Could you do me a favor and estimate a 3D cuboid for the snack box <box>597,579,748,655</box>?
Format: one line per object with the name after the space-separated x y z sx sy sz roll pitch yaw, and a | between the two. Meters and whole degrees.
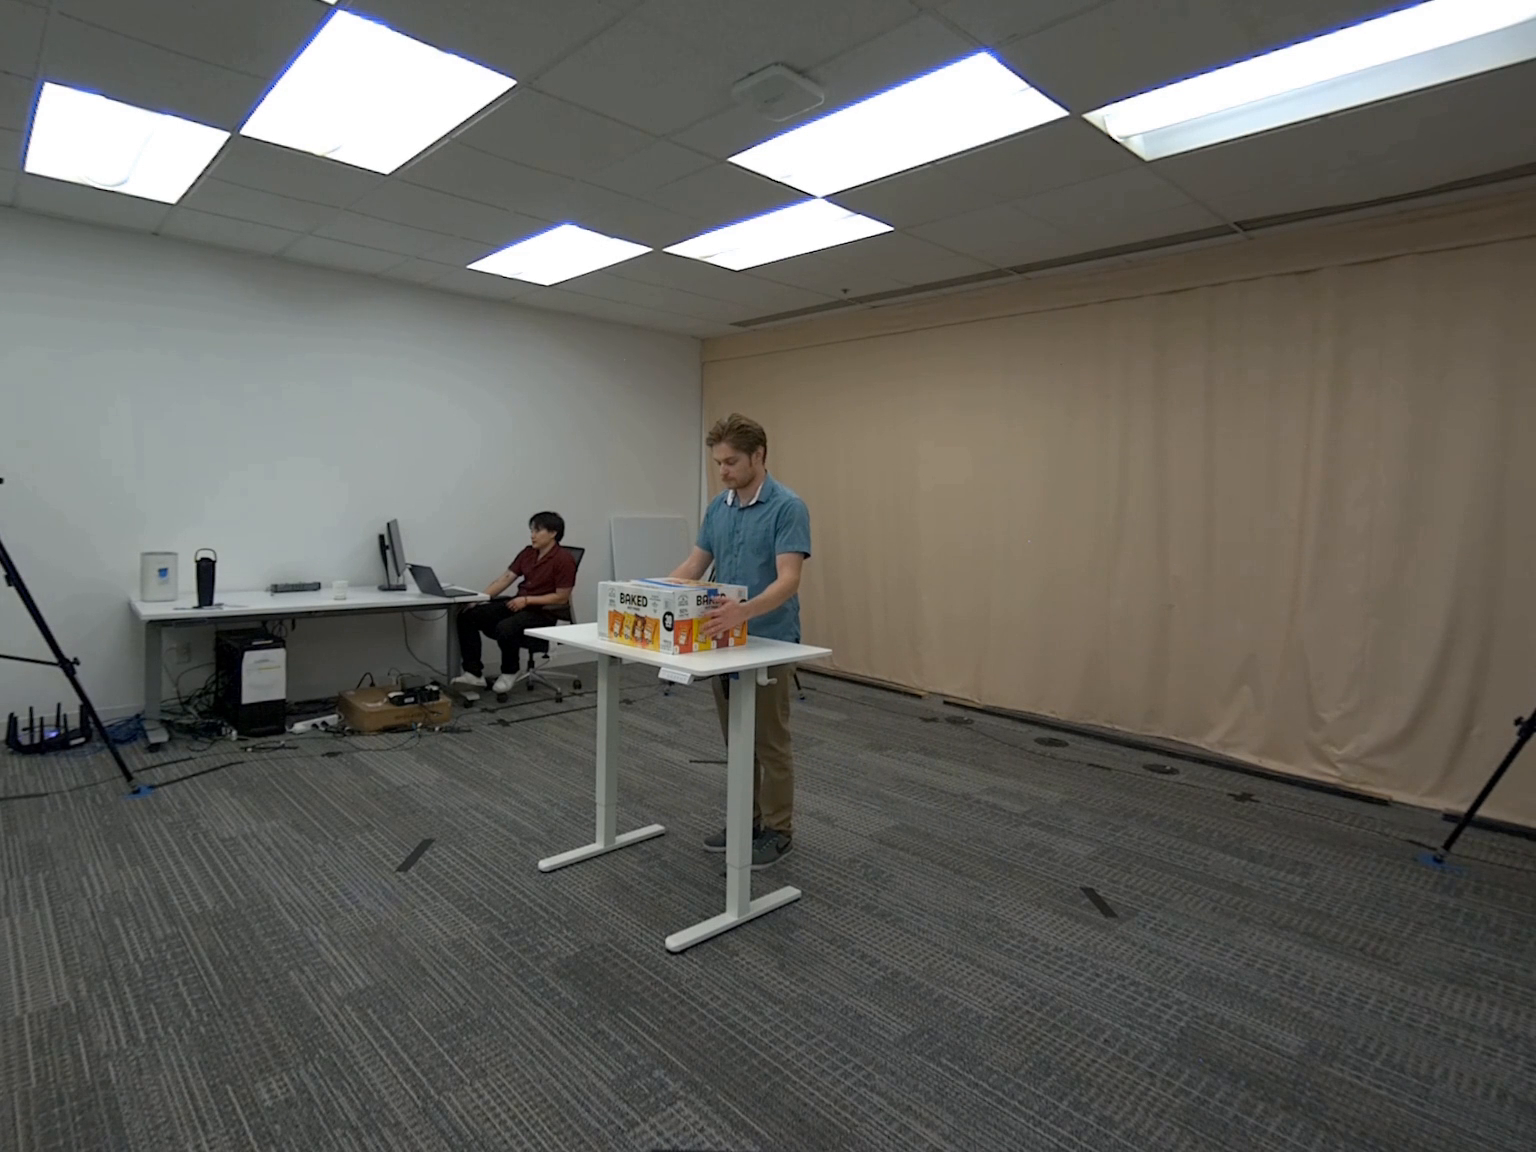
-0.348 0.131 2.930 0.415 0.205 0.332 5 5 44 | snack box
